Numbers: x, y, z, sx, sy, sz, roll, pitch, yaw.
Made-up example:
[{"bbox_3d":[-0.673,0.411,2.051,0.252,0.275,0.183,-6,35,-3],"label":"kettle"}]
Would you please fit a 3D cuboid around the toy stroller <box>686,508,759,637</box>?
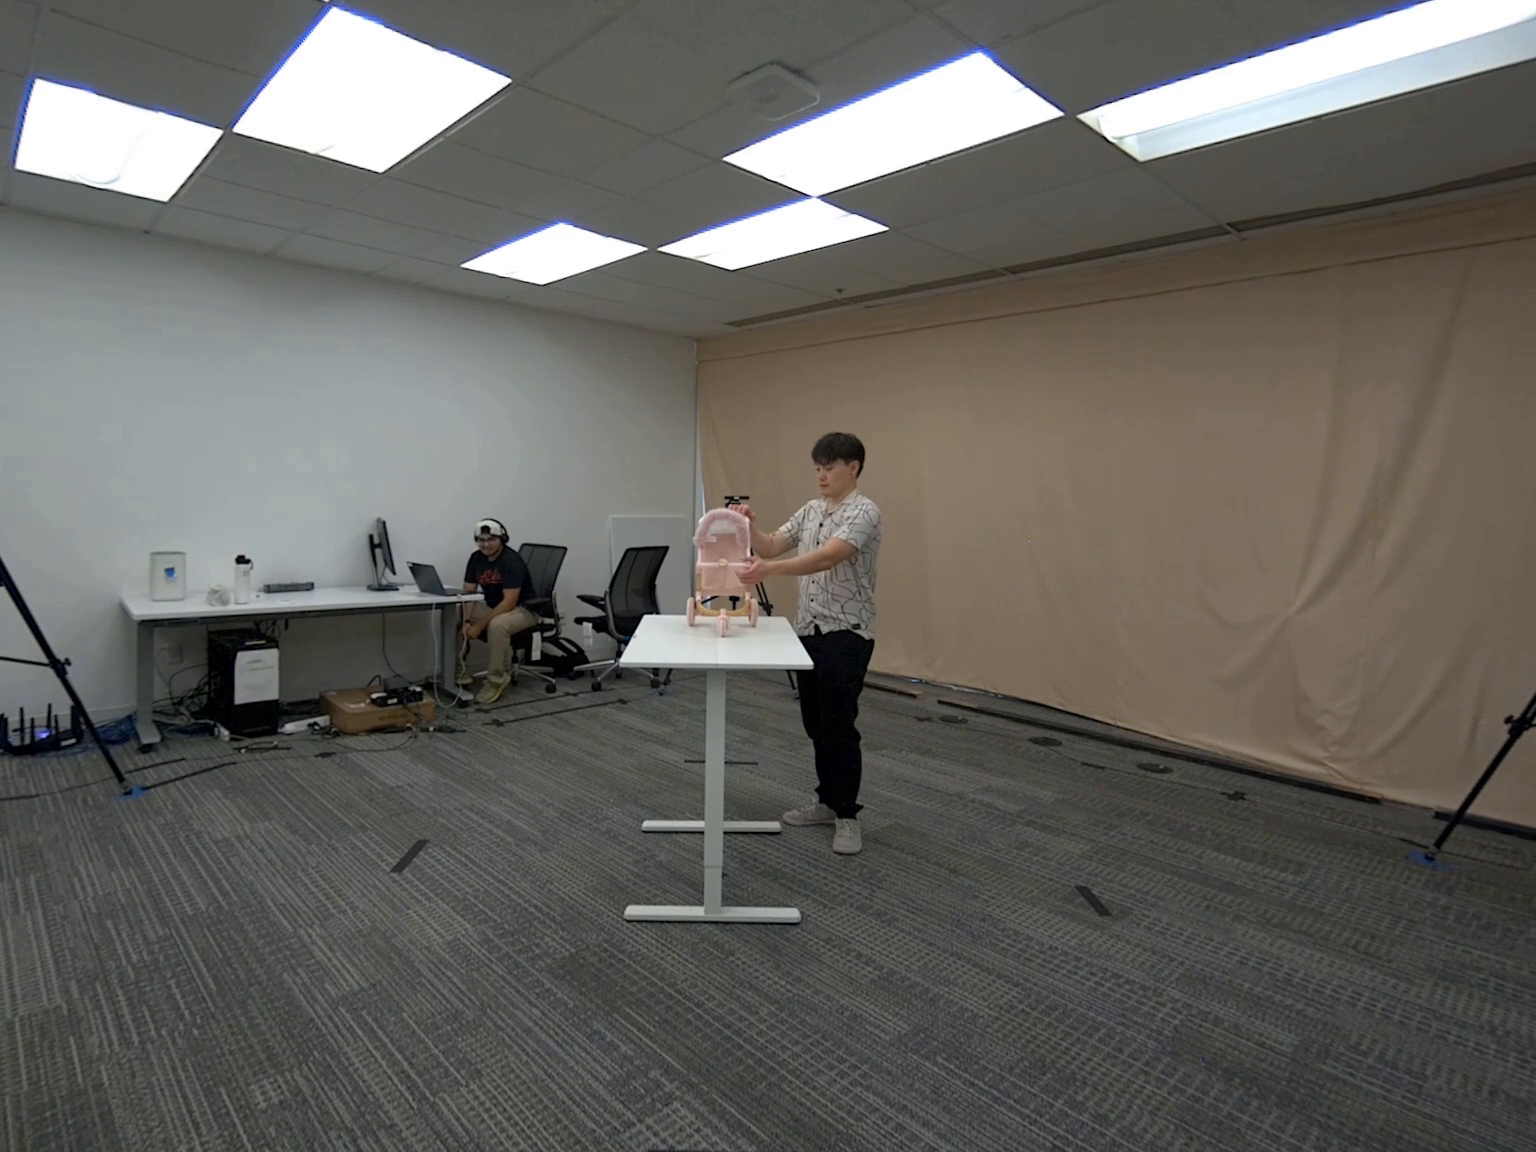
[{"bbox_3d":[-0.182,-0.018,3.251,0.282,0.539,0.338,0,-11,1],"label":"toy stroller"}]
